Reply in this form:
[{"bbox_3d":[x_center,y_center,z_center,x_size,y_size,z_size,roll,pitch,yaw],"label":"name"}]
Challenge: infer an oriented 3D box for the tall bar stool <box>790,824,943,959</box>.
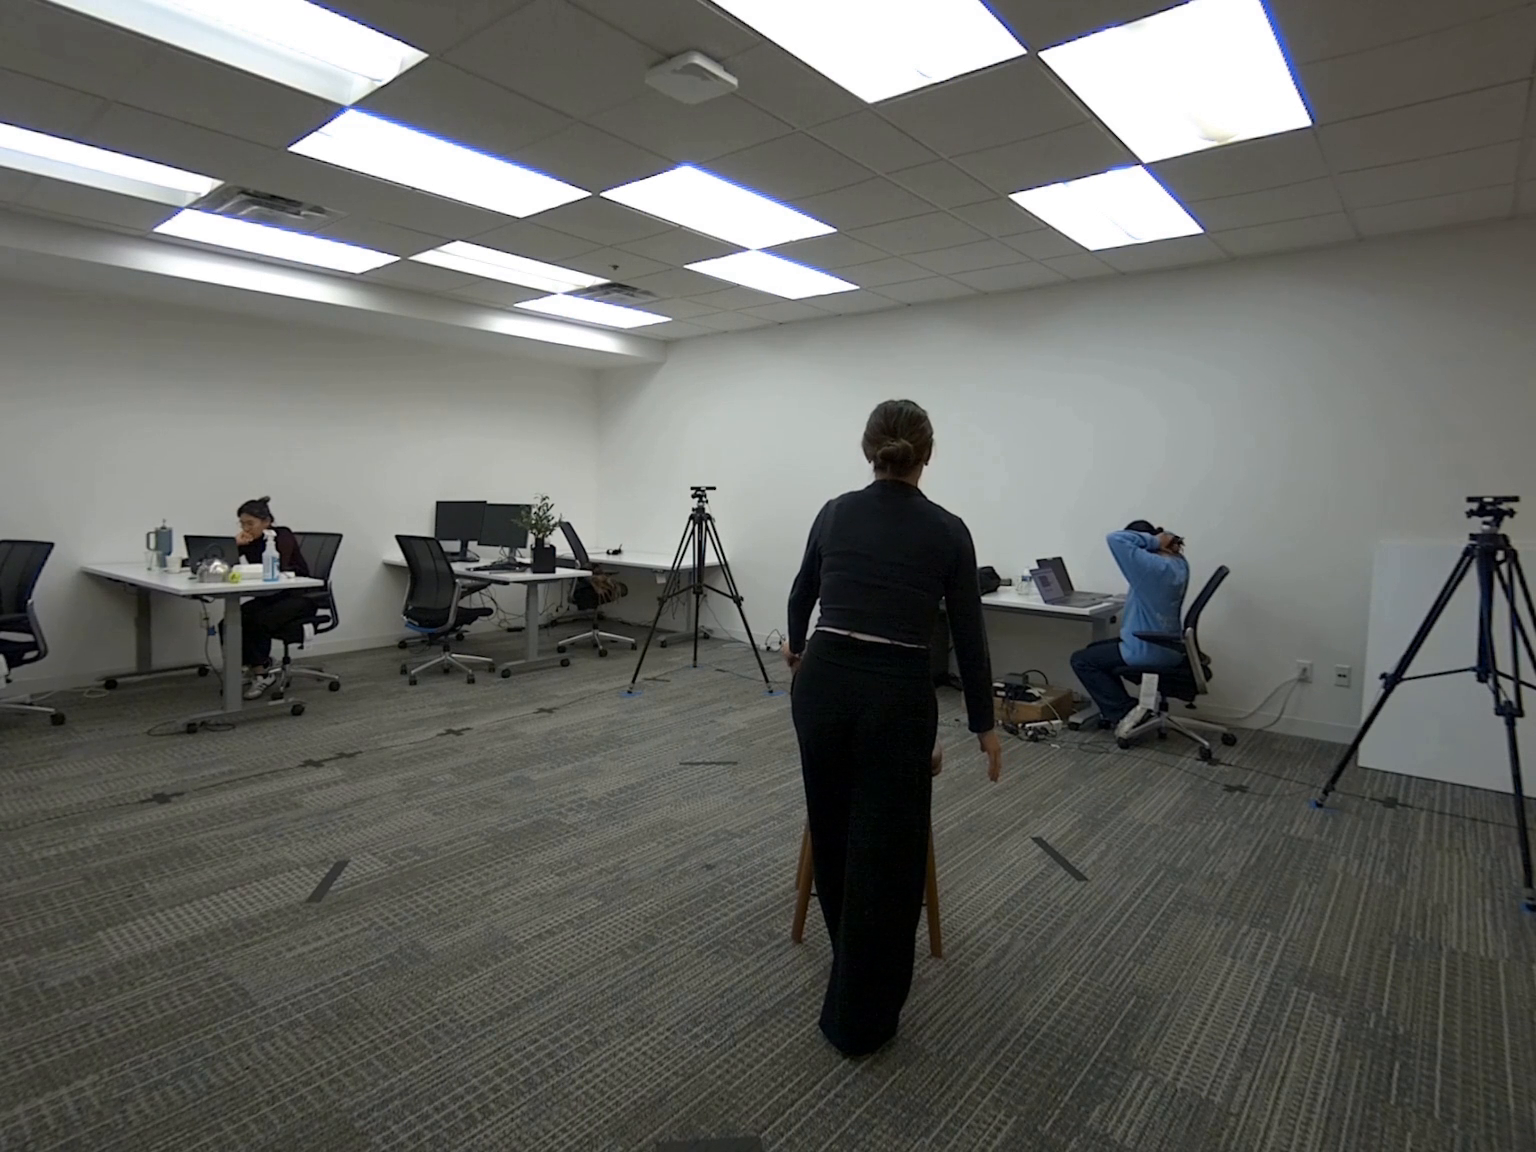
[{"bbox_3d":[0.311,0.676,2.746,0.471,0.887,0.454,0,3,6],"label":"tall bar stool"}]
